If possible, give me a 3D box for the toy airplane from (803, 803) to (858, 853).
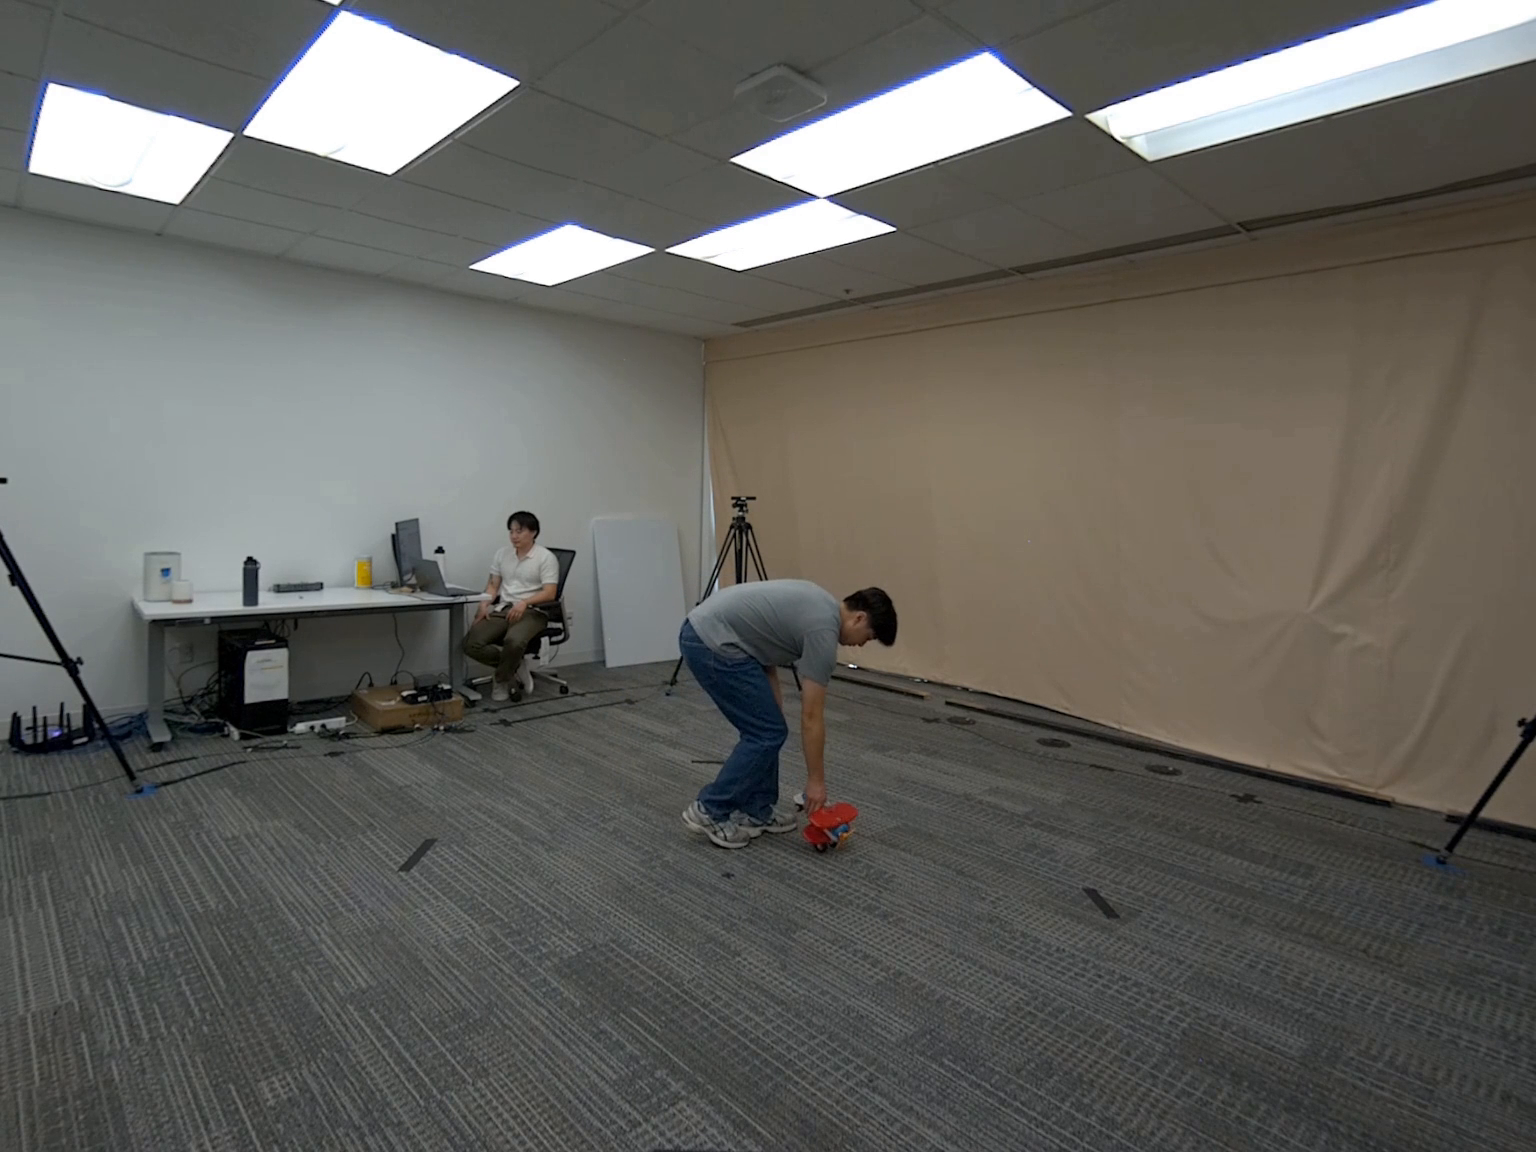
[{"bbox_3d":[0.194,0.975,3.368,0.261,0.156,0.250,38,30,6],"label":"toy airplane"}]
